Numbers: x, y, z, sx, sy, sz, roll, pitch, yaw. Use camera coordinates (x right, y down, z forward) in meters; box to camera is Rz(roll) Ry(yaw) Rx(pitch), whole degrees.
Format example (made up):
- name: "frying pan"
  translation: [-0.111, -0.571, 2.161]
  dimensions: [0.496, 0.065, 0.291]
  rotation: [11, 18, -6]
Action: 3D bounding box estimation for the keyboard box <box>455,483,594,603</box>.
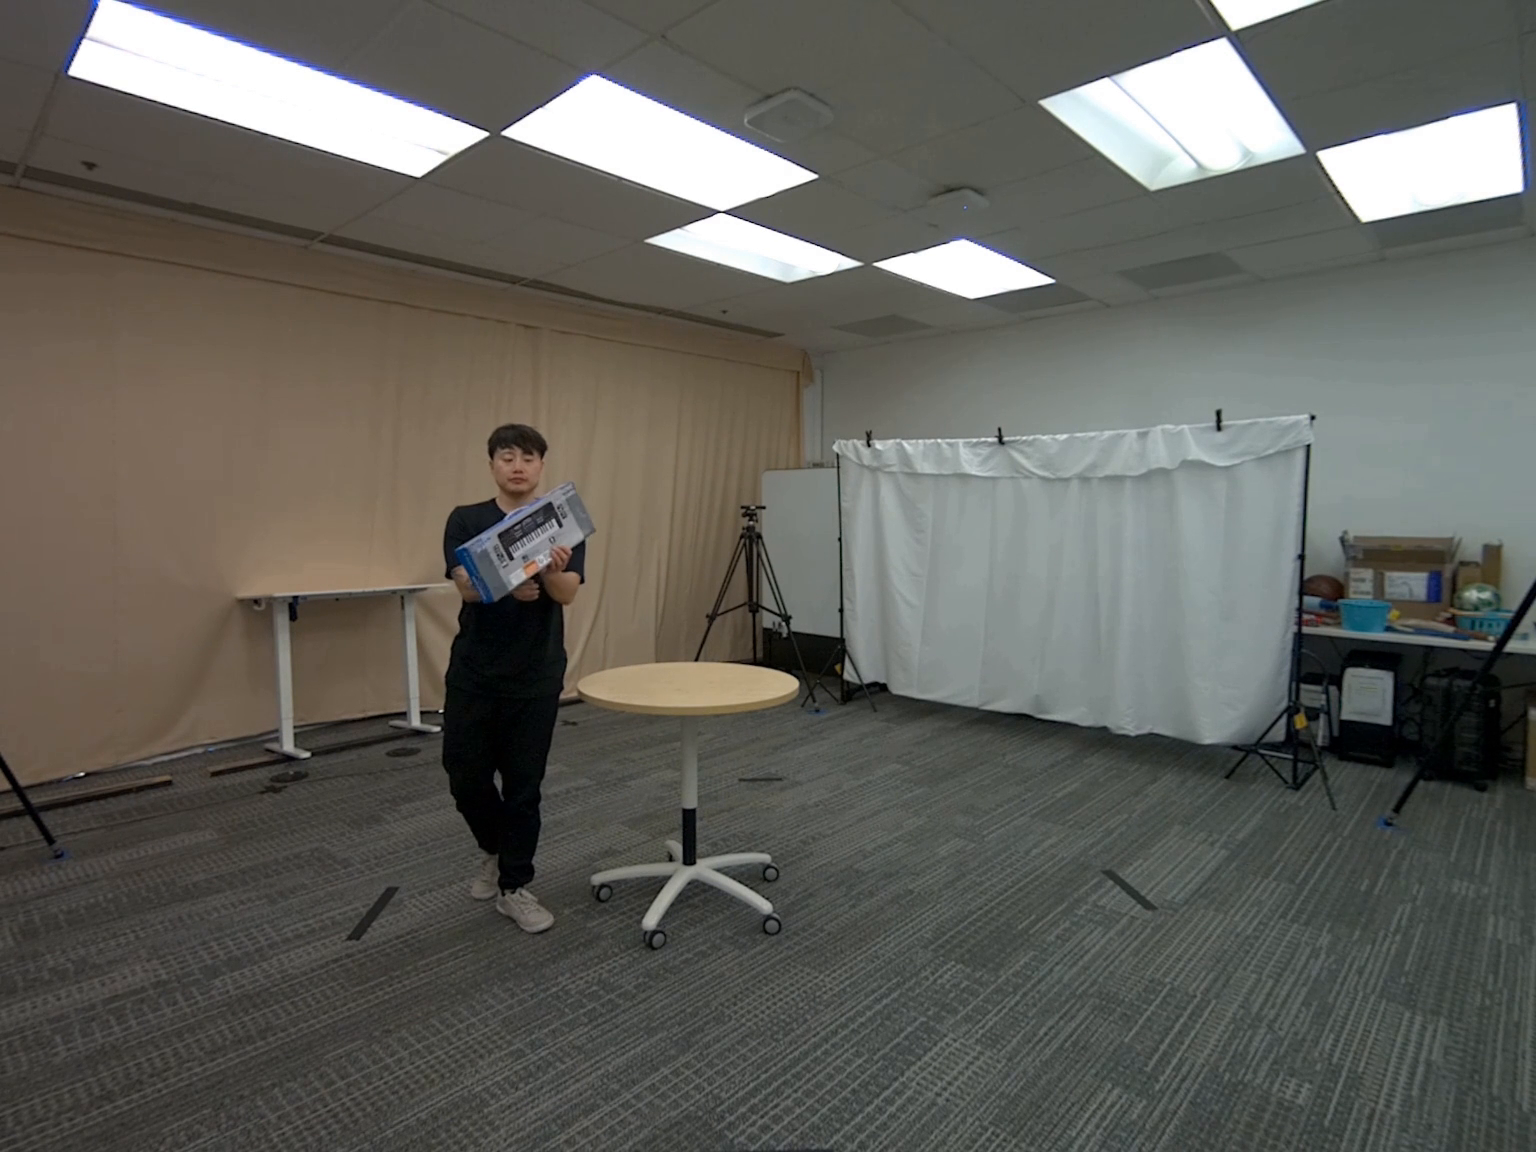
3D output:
- name: "keyboard box"
  translation: [-0.694, -0.100, 2.447]
  dimensions: [0.061, 0.173, 0.432]
  rotation: [-12, 22, 40]
